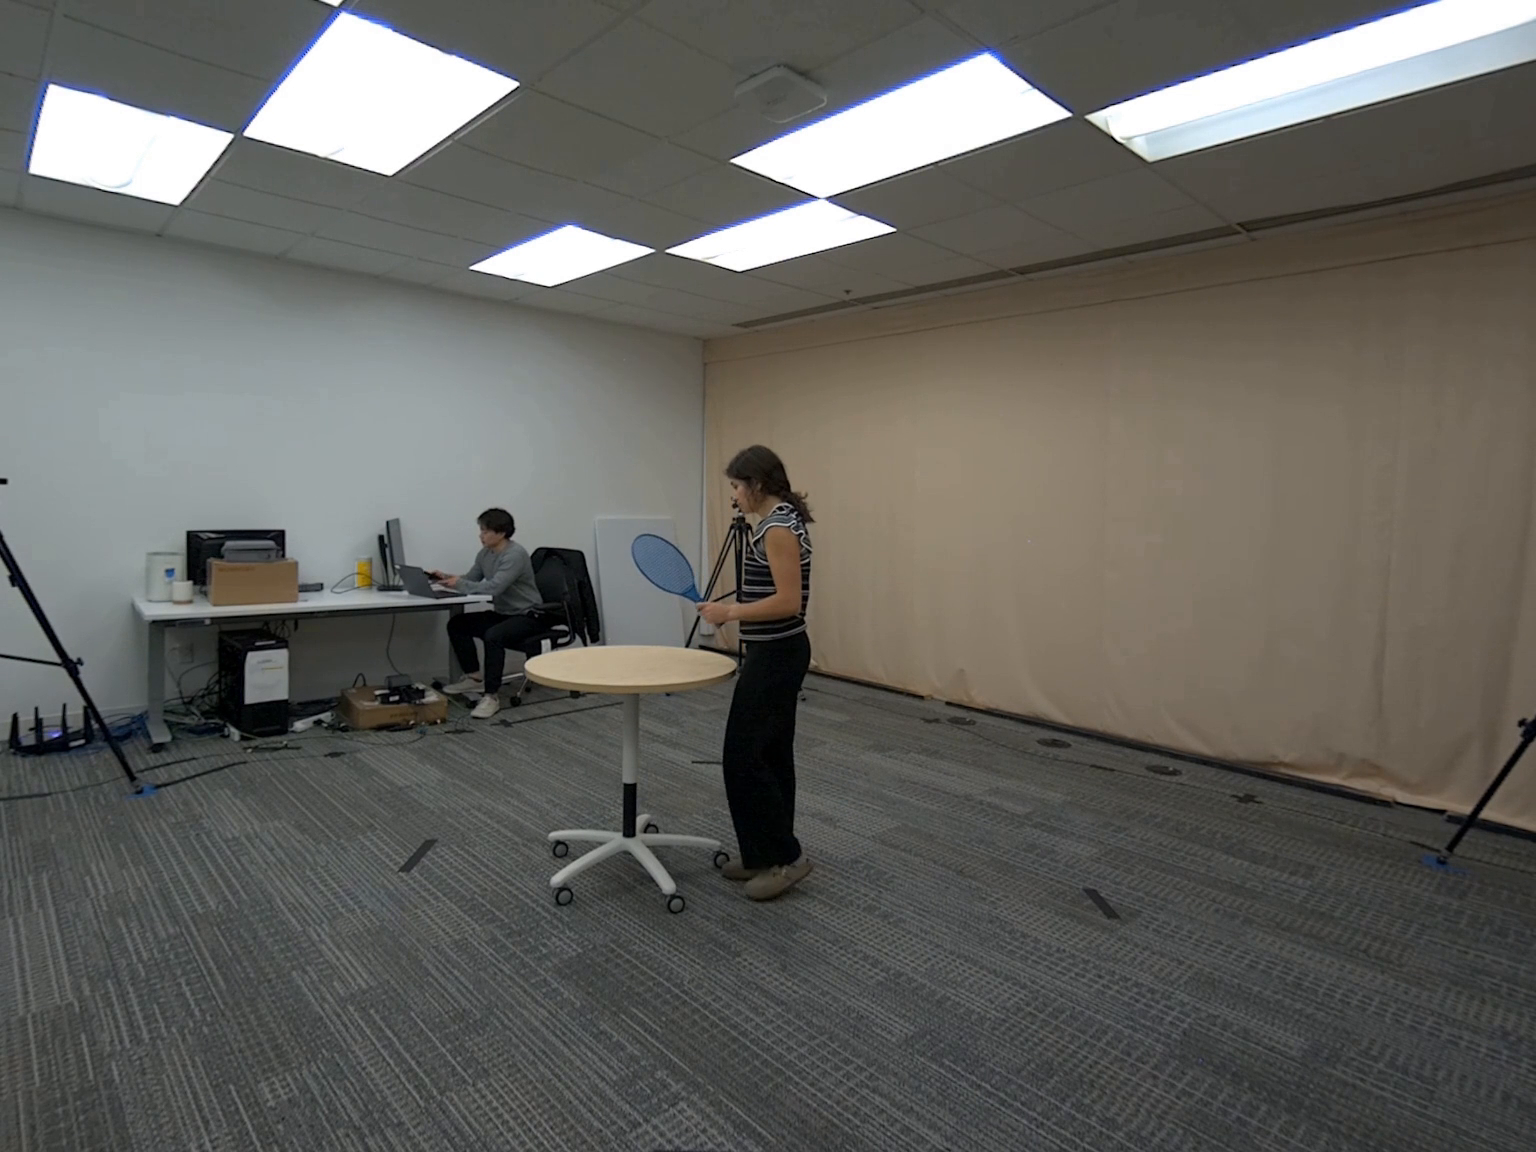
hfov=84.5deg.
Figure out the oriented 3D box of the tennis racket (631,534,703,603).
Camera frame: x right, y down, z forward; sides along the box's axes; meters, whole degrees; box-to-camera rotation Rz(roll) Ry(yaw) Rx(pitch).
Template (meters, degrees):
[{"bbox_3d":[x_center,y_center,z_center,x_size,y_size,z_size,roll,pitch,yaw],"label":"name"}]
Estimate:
[{"bbox_3d":[-0.310,0.019,2.957,0.213,0.435,0.032,-40,-7,-49],"label":"tennis racket"}]
